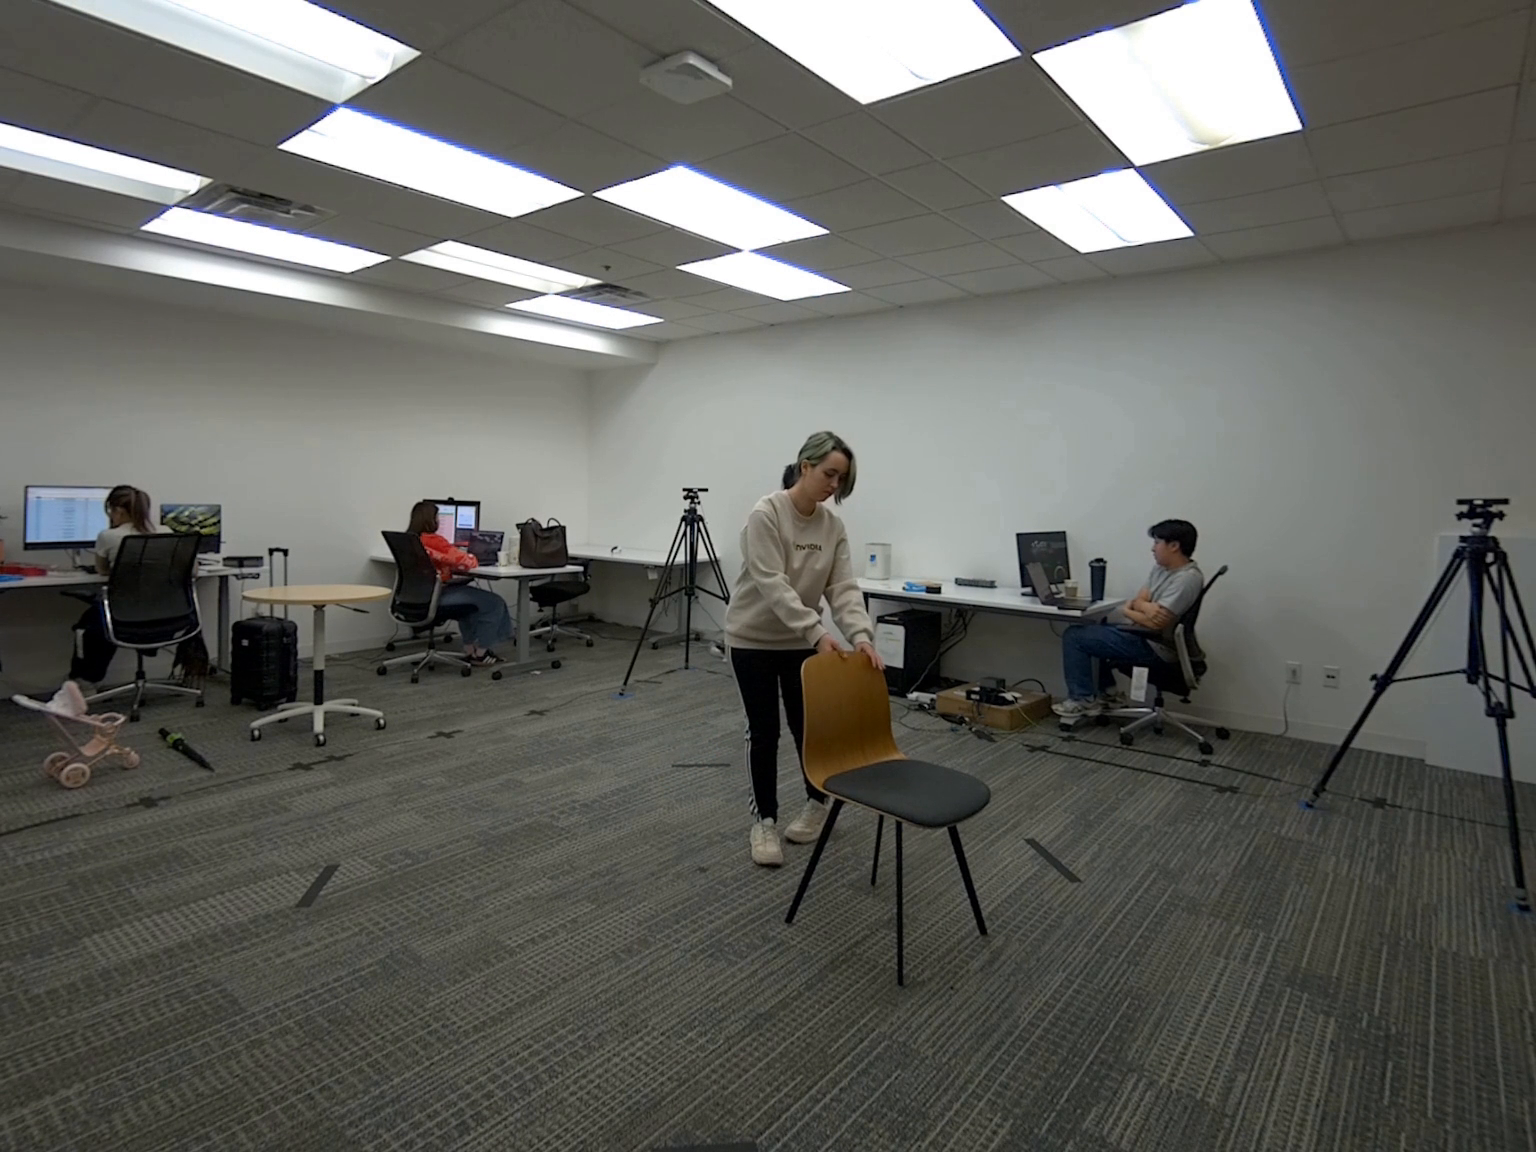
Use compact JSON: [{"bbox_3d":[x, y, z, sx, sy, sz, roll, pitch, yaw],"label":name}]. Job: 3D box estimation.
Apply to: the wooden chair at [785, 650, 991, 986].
[{"bbox_3d":[0.388,0.695,2.680,0.463,0.878,0.539,-1,0,-43],"label":"wooden chair"}]
